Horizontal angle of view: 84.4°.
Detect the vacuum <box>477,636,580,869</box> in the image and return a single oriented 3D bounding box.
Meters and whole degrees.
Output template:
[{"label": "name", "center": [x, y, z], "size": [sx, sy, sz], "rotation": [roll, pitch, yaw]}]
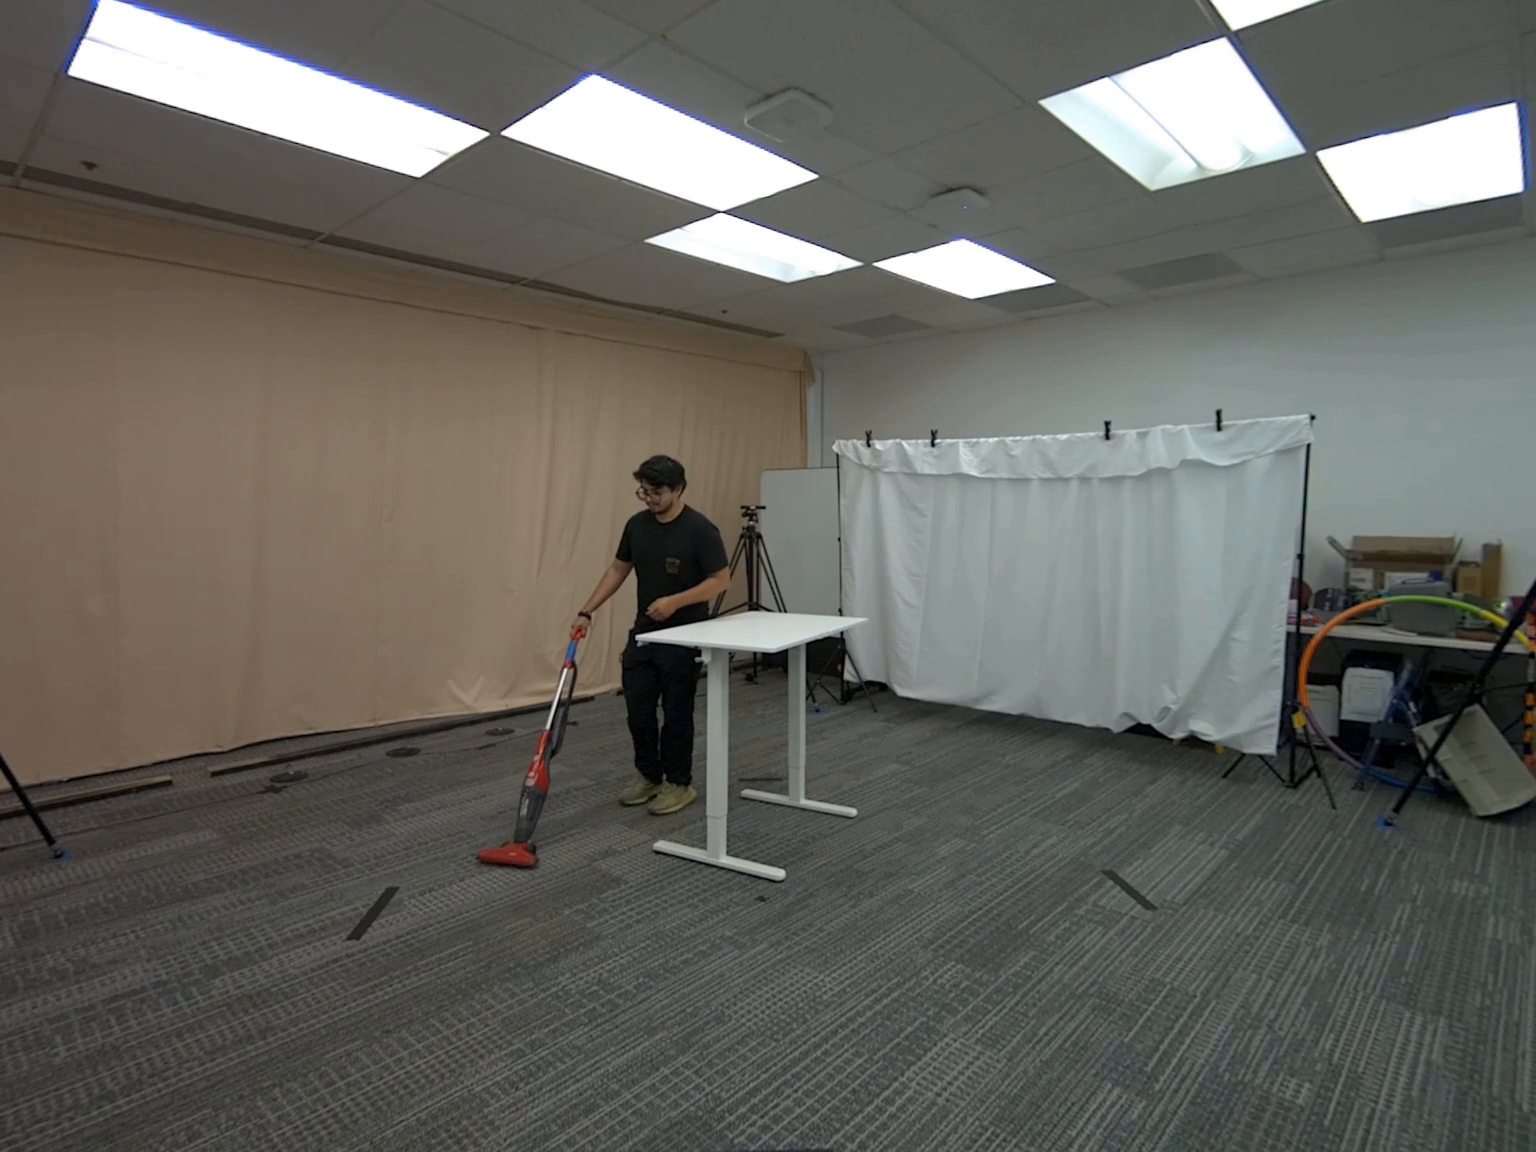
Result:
[{"label": "vacuum", "center": [-0.935, 0.681, 3.617], "size": [0.257, 1.061, 0.140], "rotation": [0, -36, 15]}]
